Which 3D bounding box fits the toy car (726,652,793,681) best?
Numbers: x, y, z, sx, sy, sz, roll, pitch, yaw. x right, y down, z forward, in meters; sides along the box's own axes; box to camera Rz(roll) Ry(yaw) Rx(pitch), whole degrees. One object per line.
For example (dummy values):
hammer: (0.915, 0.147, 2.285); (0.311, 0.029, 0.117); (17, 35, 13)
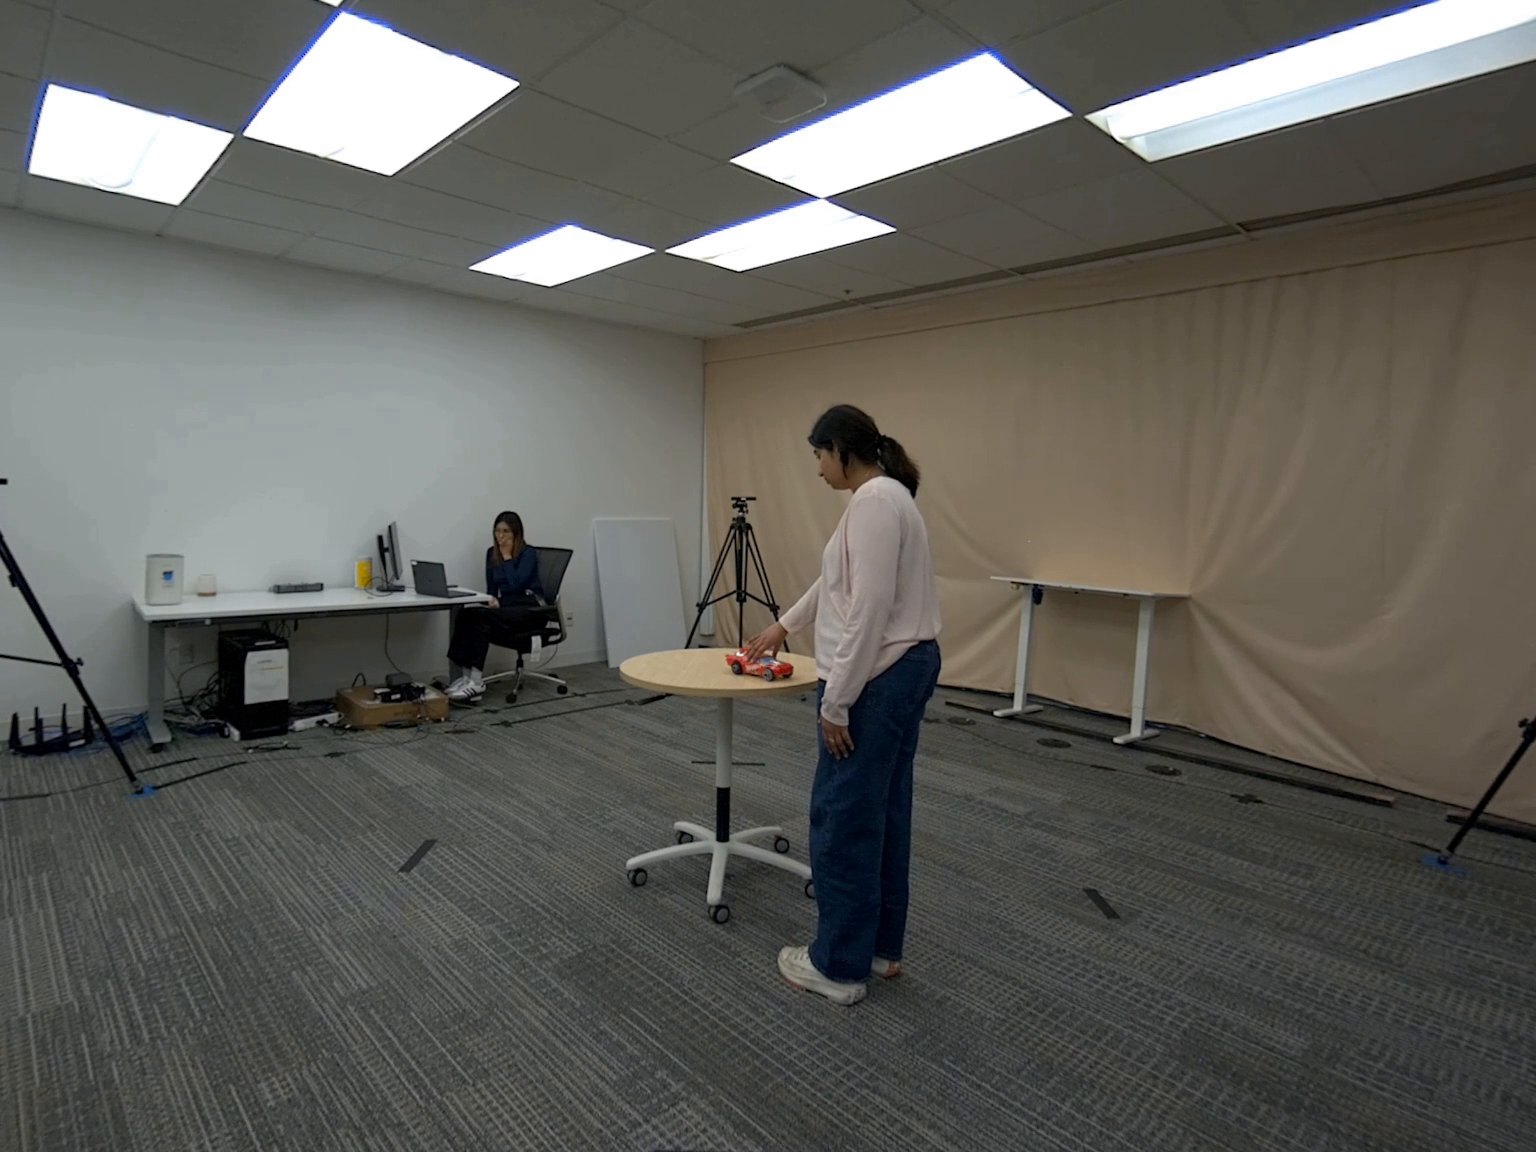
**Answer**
toy car: (-0.048, 0.312, 2.904); (0.262, 0.082, 0.127); (19, 16, 41)
